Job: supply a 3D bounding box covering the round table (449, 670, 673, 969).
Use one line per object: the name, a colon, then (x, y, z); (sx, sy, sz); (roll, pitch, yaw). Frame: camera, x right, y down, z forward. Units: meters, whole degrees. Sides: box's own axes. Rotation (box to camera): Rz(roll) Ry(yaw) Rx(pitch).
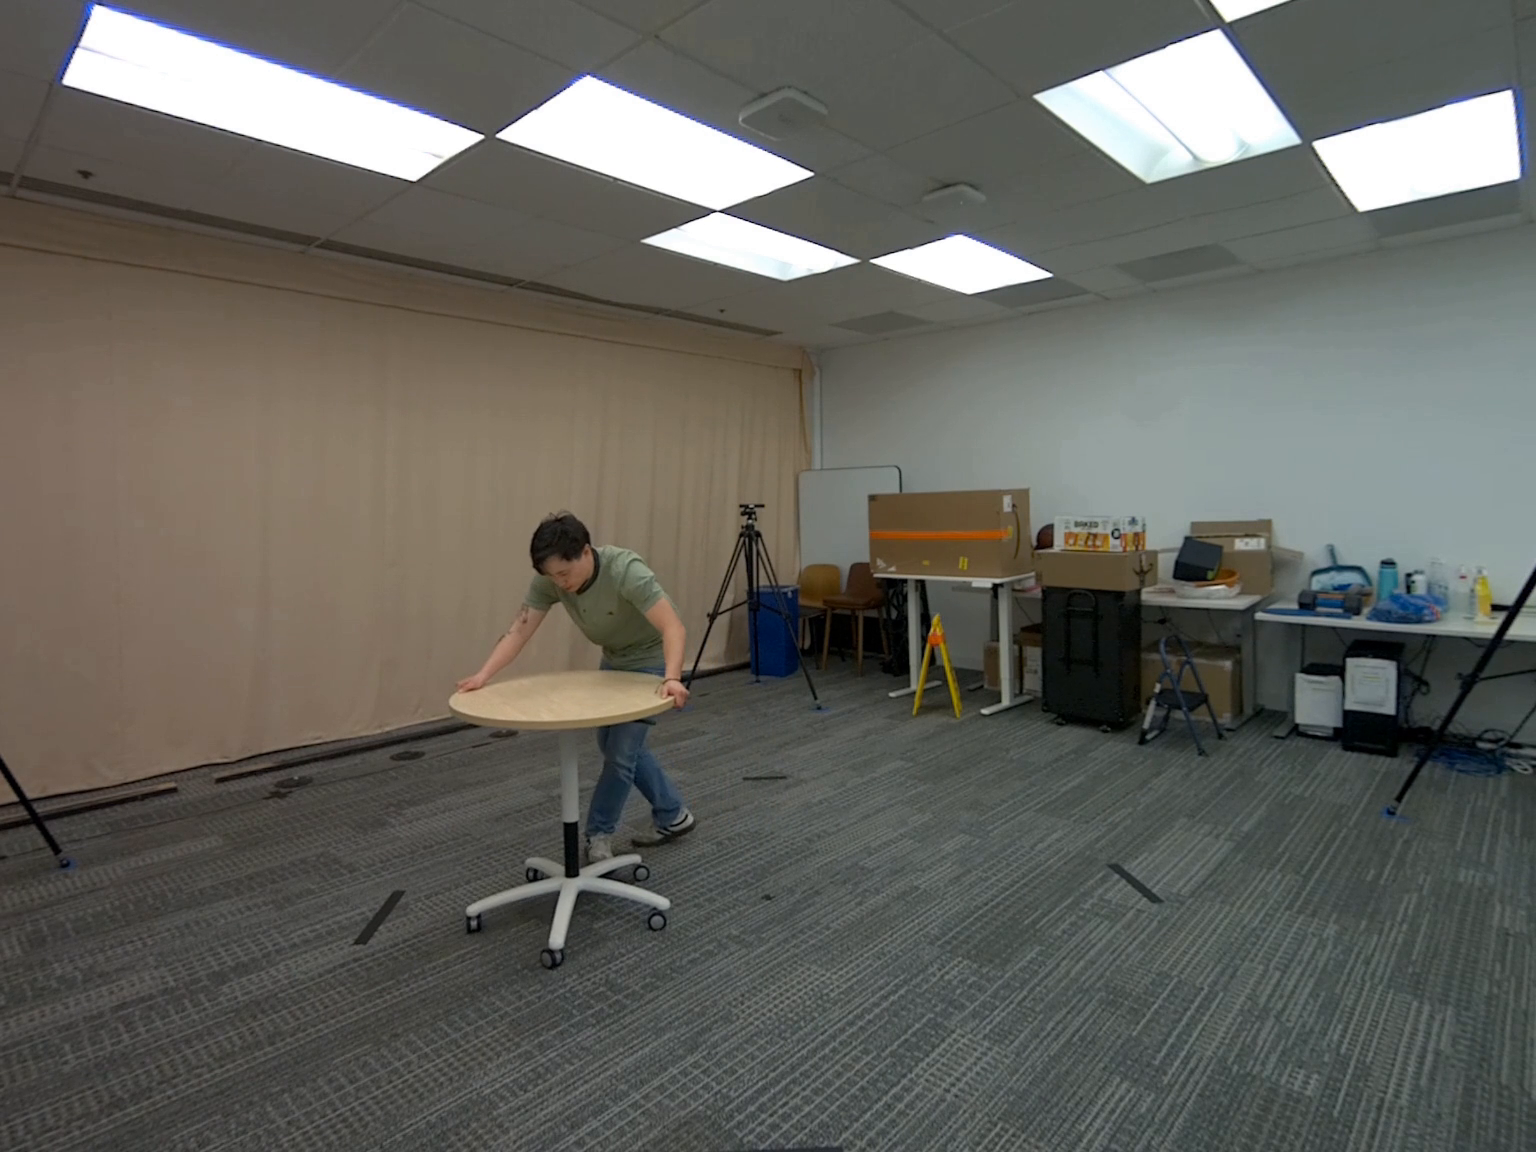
round table: (-0.678, 0.778, 2.867); (0.763, 0.792, 0.766); (-1, 3, -2)
